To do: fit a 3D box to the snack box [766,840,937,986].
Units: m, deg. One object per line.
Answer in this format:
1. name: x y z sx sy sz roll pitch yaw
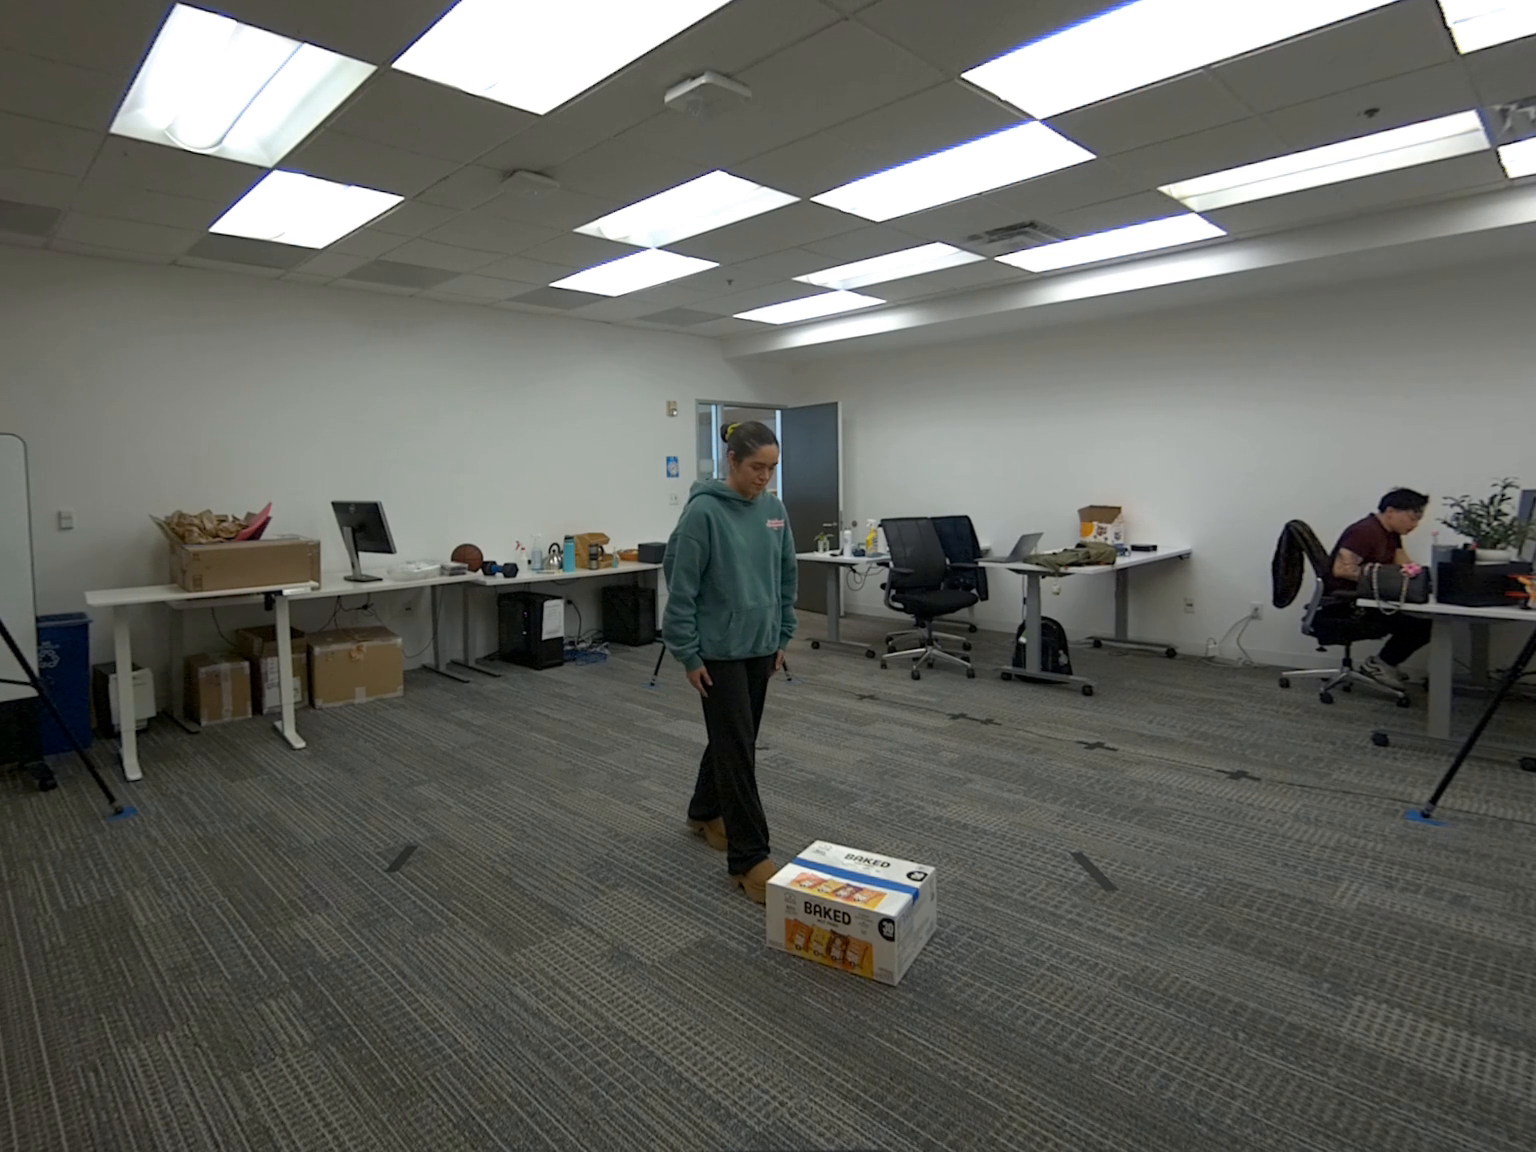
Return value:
1. snack box: 0.261 1.001 2.571 0.416 0.205 0.333 2 7 31
